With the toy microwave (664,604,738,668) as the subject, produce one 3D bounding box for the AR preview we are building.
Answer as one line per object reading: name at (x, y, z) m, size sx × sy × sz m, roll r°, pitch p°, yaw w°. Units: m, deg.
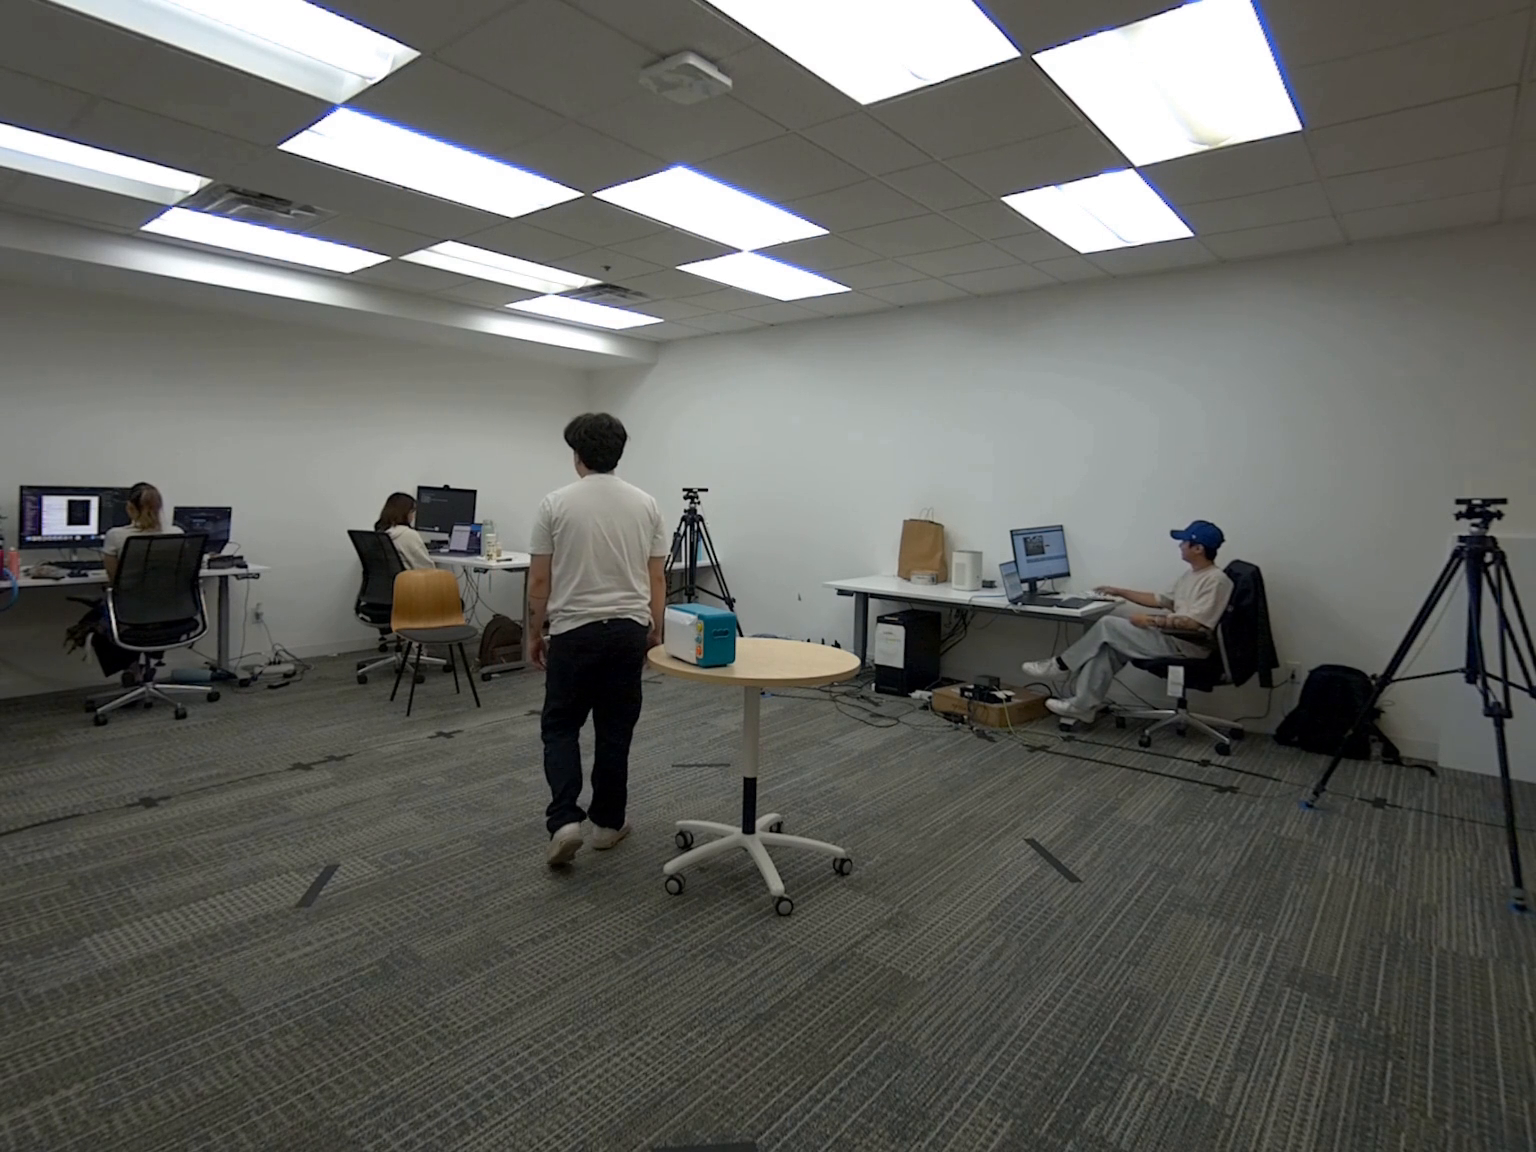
toy microwave at (-0.255, 0.200, 2.943) m, size 0.148 × 0.183 × 0.295 m, roll -1°, pitch 5°, yaw -35°
